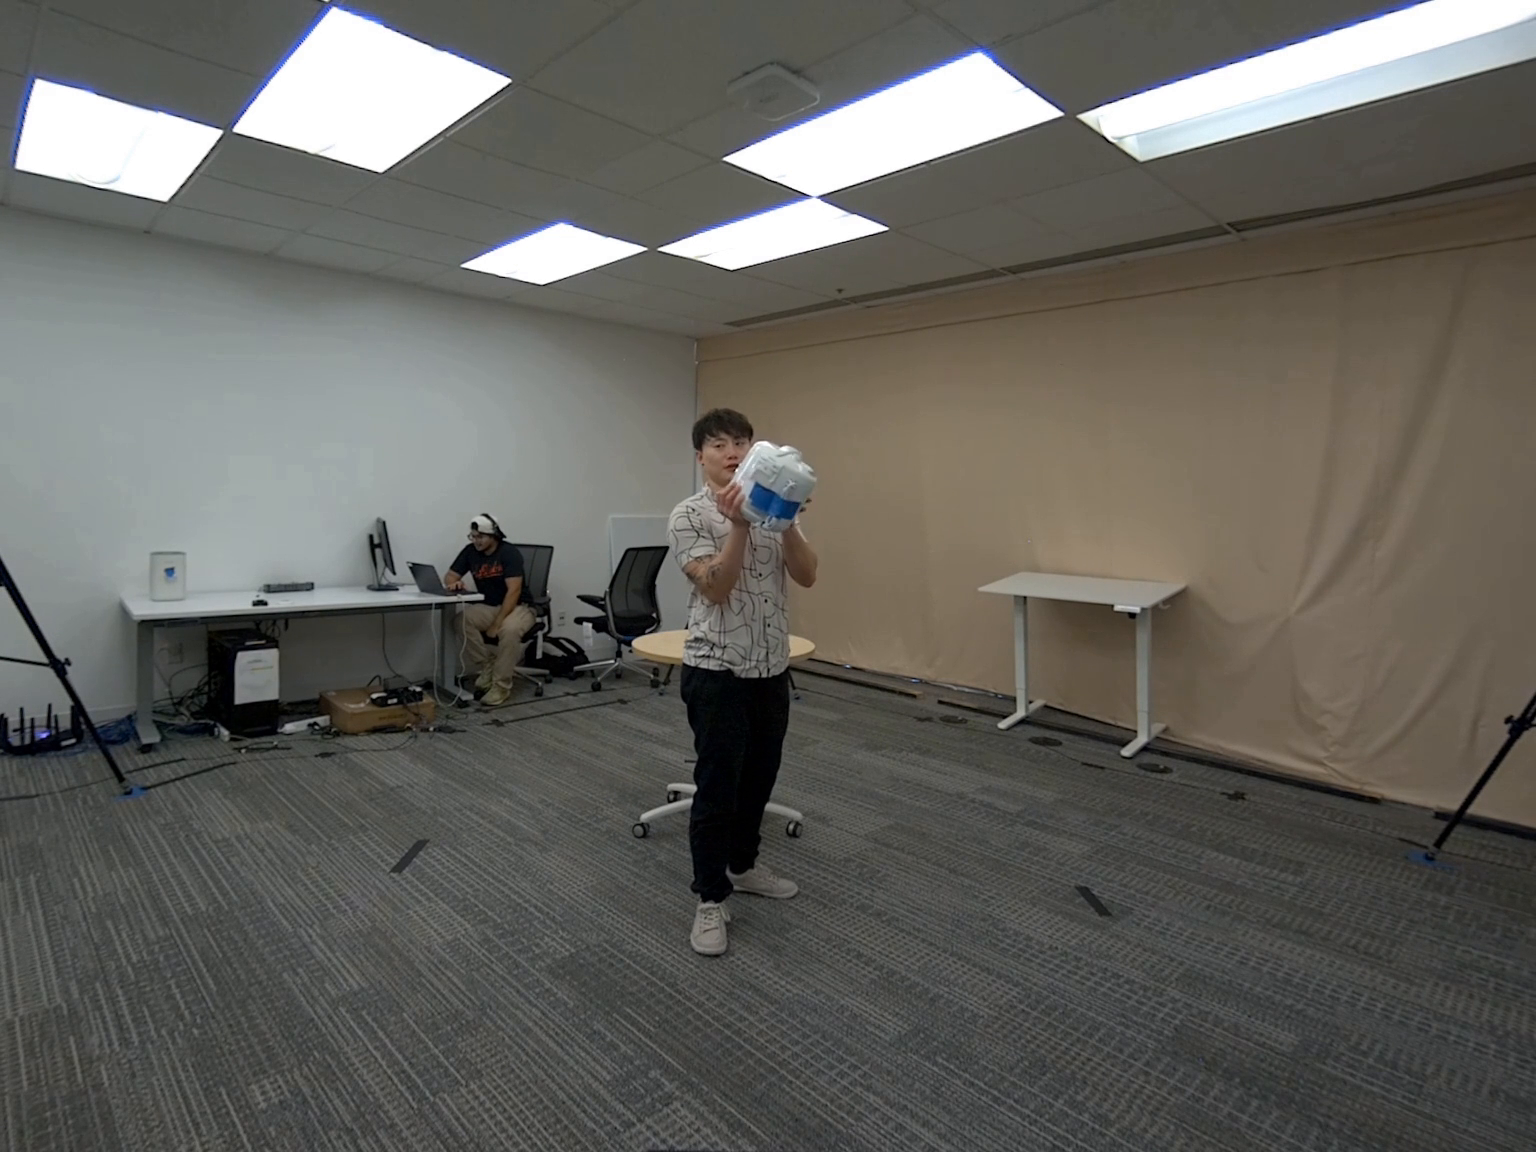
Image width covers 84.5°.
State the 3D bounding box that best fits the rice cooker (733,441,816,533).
[{"bbox_3d":[0.008,-0.260,2.382,0.222,0.232,0.217,37,13,18],"label":"rice cooker"}]
